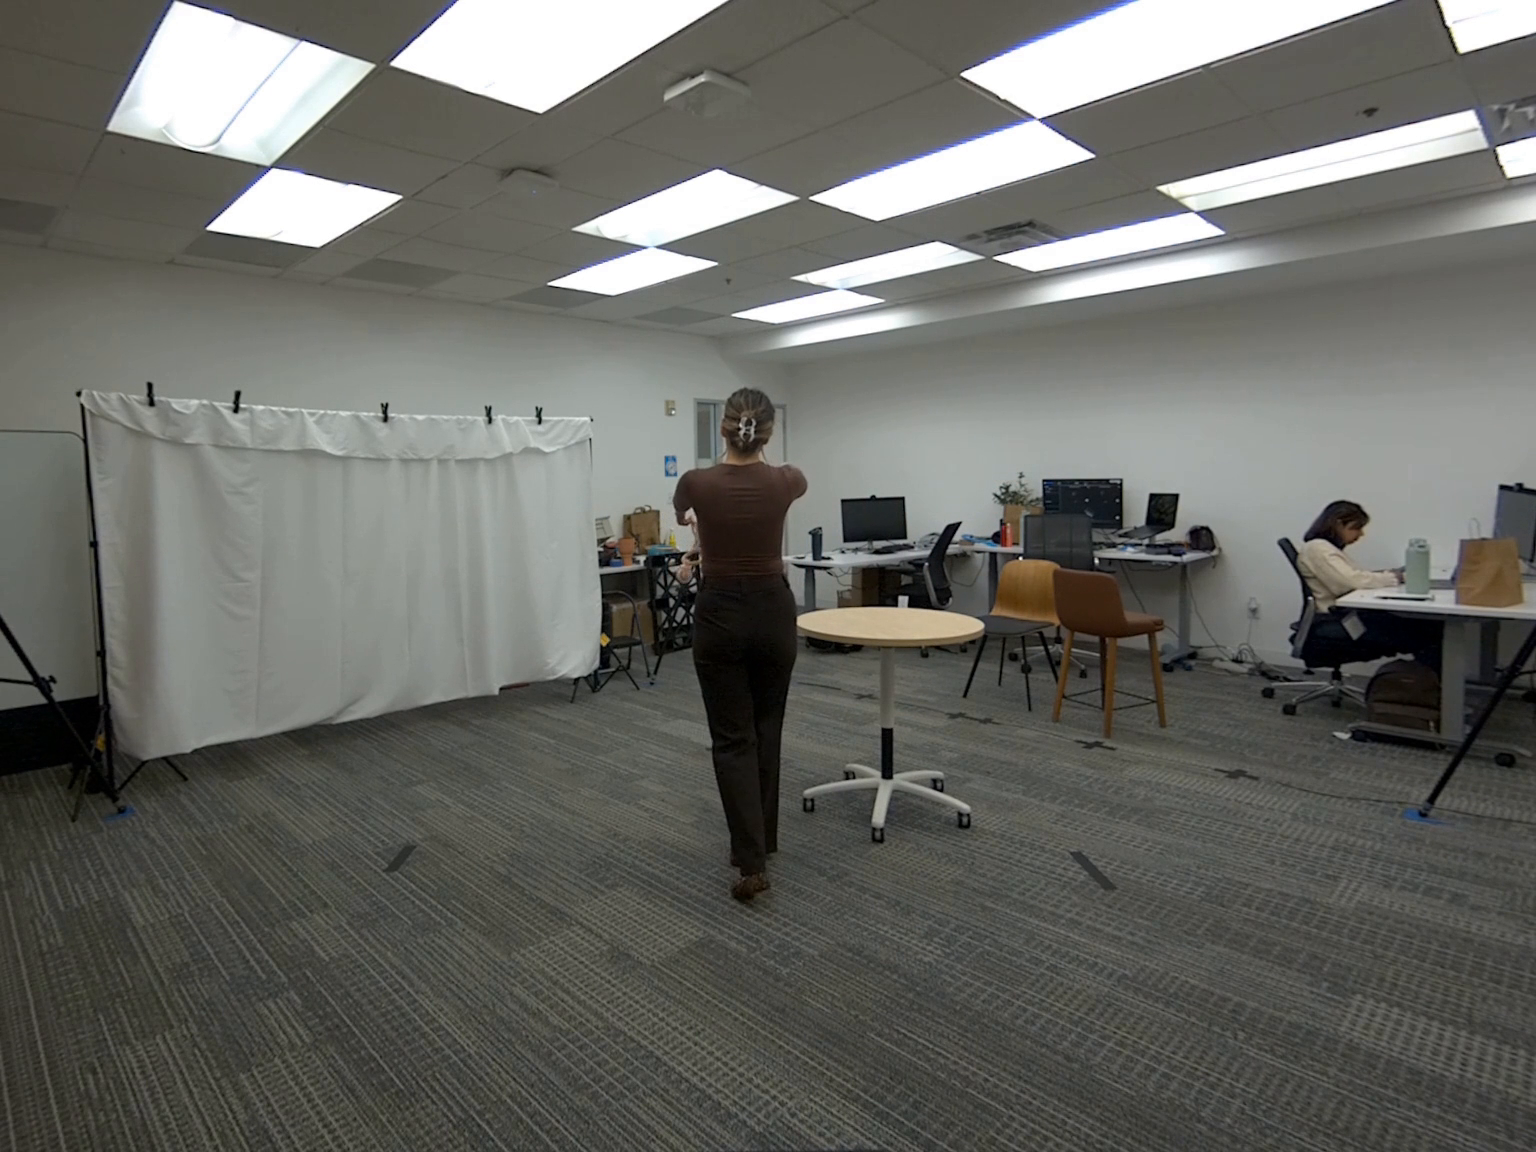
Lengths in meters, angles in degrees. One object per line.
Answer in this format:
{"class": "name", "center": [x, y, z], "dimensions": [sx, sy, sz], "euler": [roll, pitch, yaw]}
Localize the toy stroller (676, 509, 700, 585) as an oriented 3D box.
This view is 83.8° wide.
{"class": "toy stroller", "center": [-0.179, -0.209, 3.609], "dimensions": [0.333, 0.535, 0.289], "euler": [11, 1, -25]}
